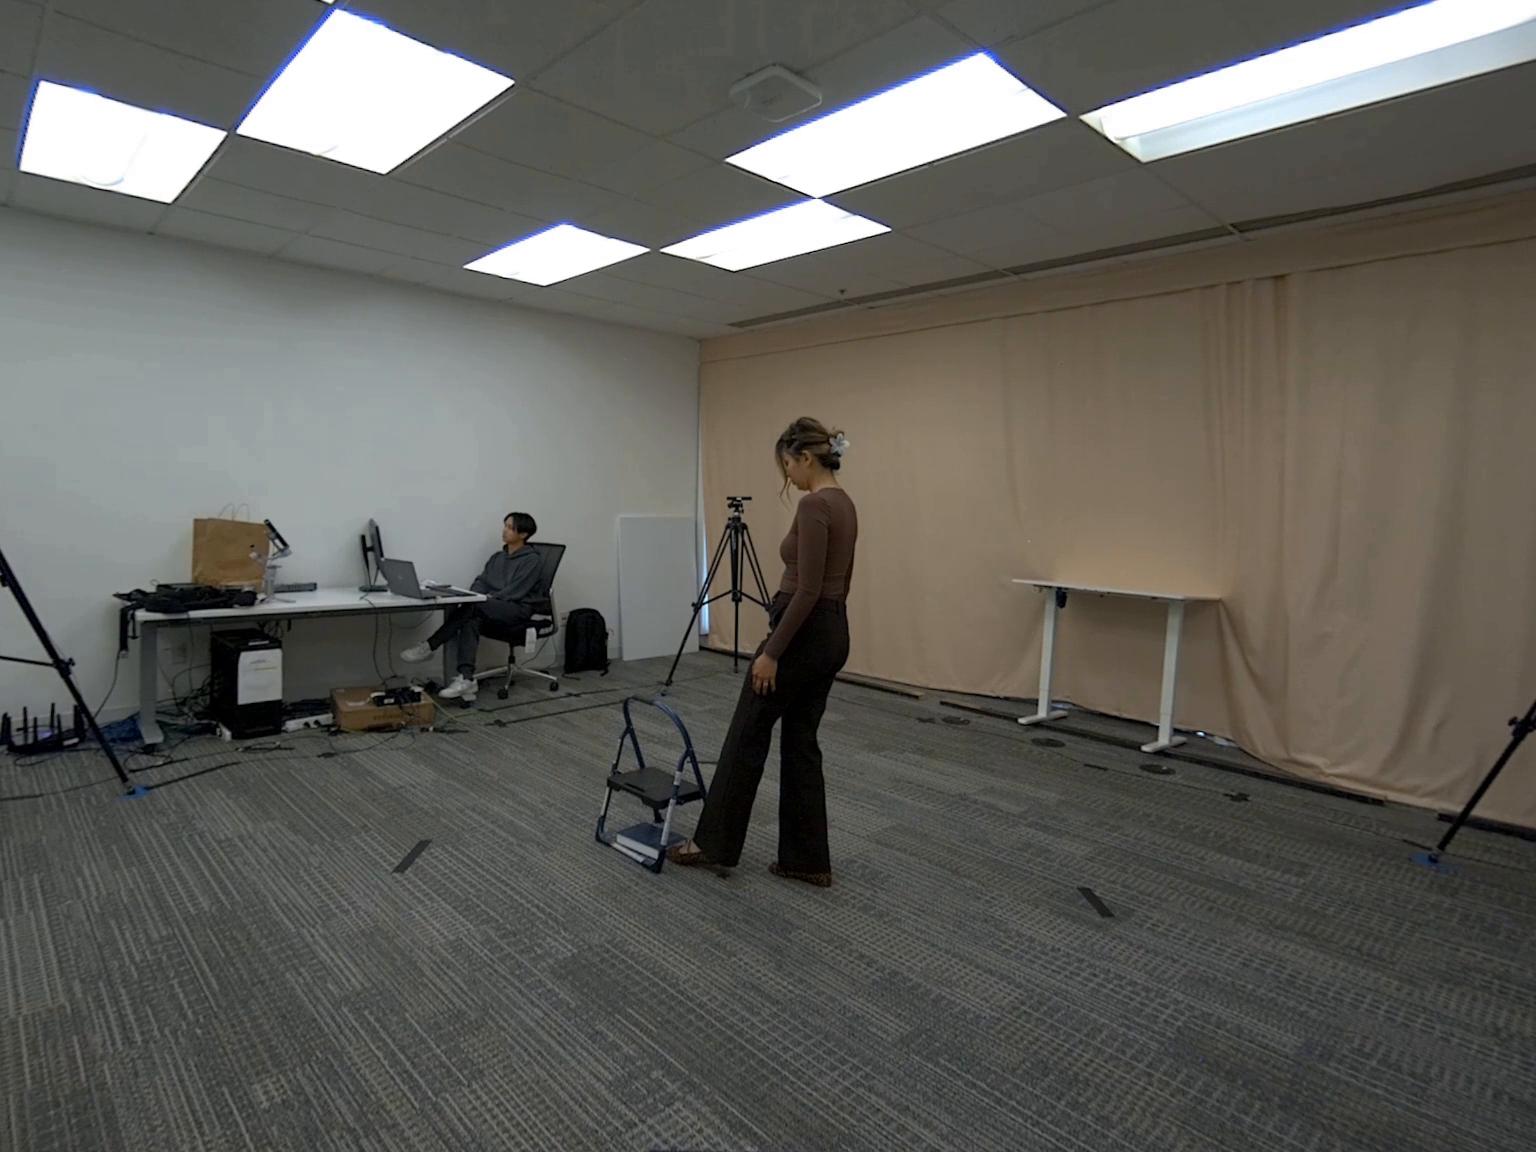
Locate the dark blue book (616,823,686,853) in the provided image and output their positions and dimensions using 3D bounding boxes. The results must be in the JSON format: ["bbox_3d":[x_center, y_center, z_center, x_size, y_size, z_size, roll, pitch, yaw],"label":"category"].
[{"bbox_3d":[-0.468,1.046,3.347,0.251,0.045,0.160,6,7,40],"label":"dark blue book"}]
